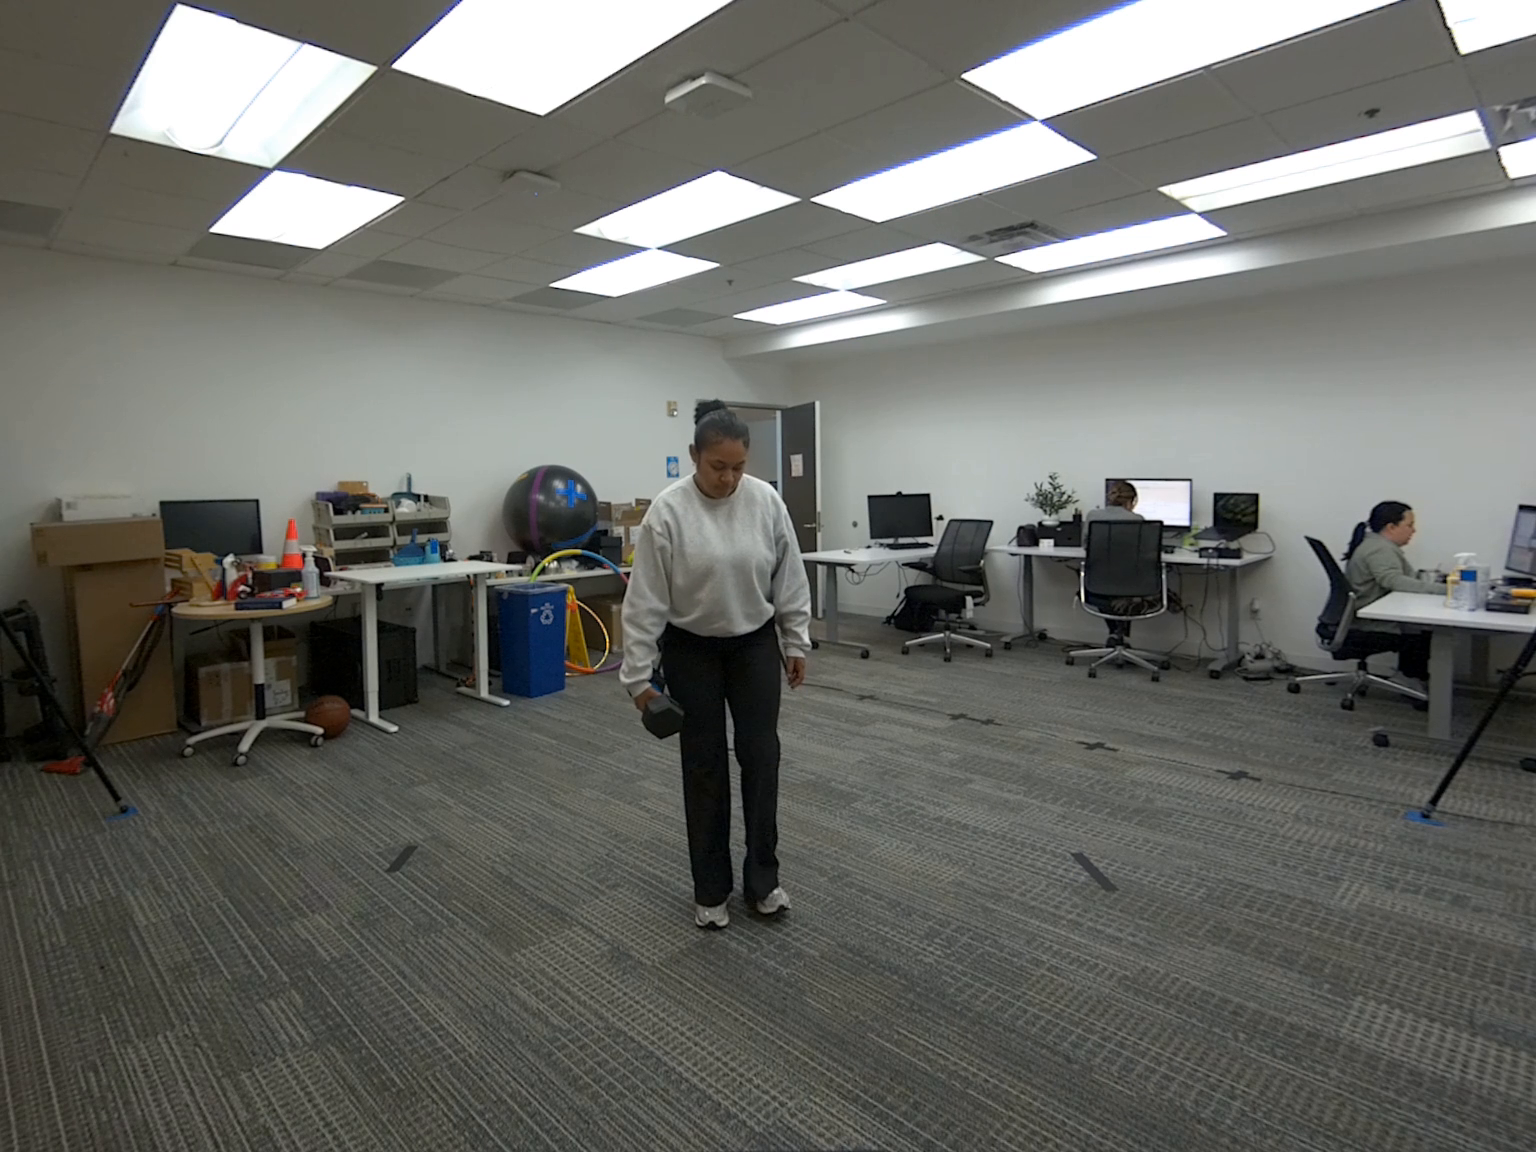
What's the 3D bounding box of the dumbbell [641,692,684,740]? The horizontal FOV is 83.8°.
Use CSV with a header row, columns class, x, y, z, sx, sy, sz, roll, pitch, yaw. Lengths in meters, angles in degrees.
class,x,y,z,sx,sy,sz,roll,pitch,yaw
dumbbell,-0.352,0.384,2.618,0.106,0.122,0.303,11,13,-24
